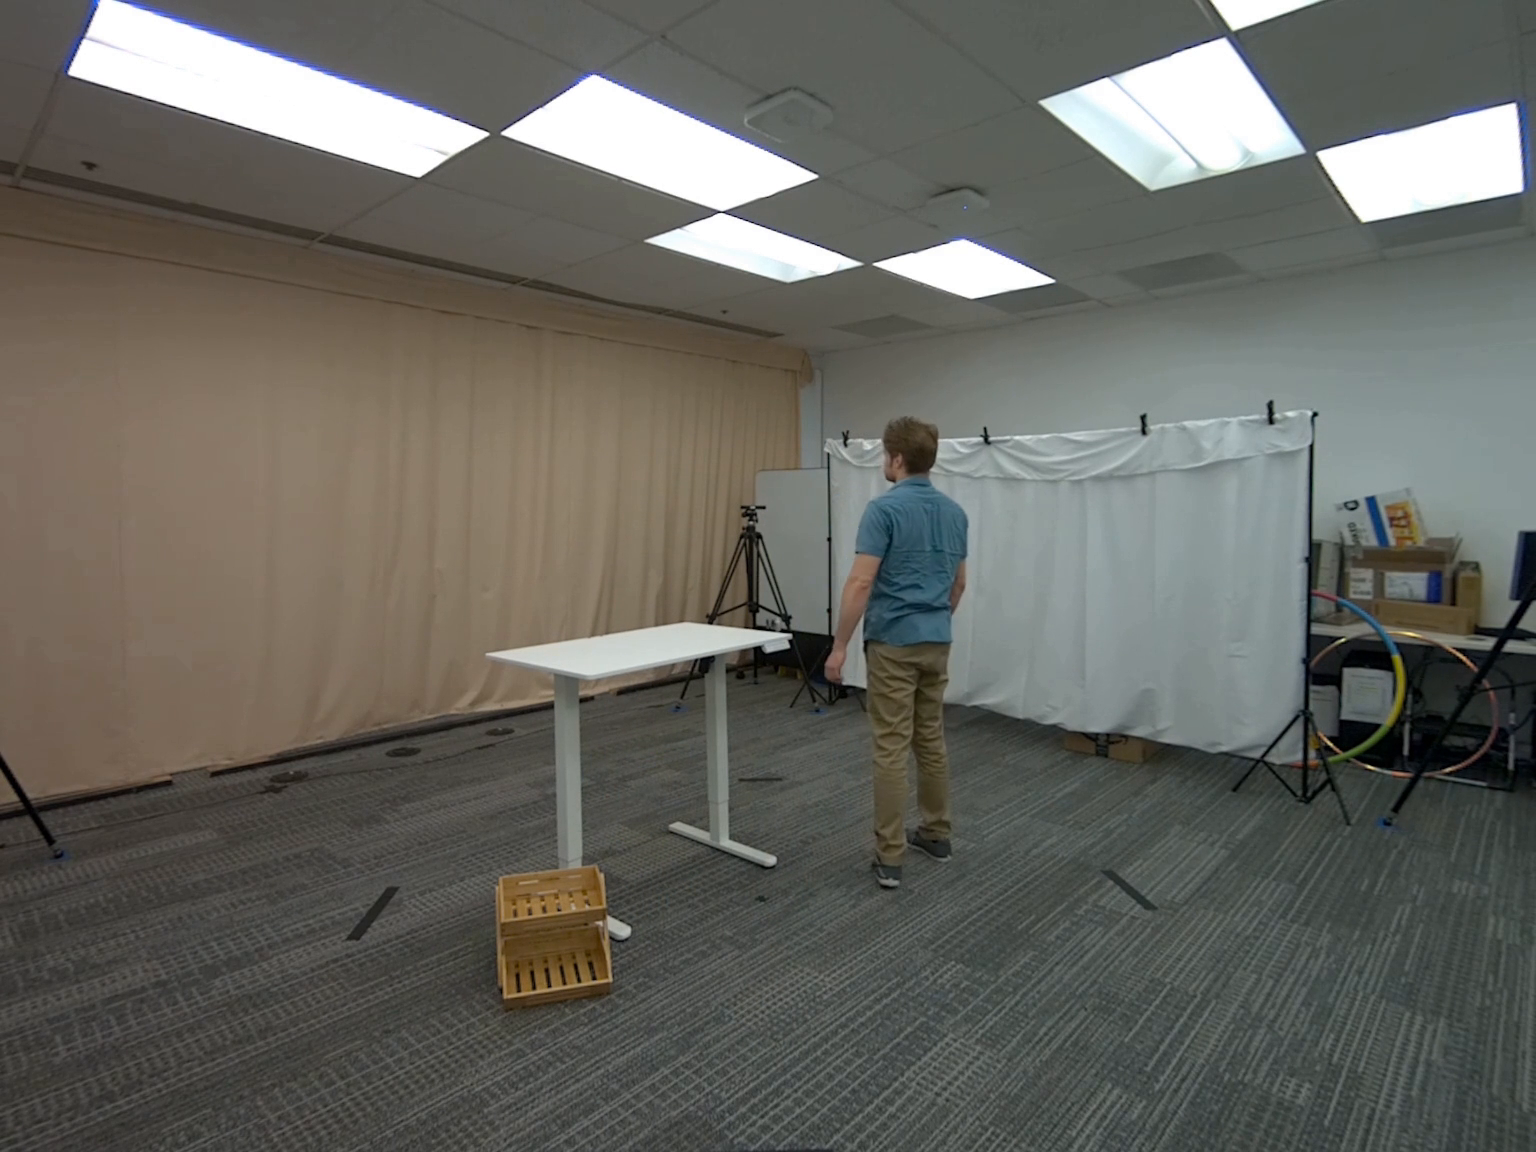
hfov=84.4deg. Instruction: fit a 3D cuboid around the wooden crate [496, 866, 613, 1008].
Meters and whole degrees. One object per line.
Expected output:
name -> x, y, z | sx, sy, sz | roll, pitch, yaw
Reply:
wooden crate -> -0.632, 1.058, 2.479 | 0.318, 0.273, 0.308 | -1, 3, -19
